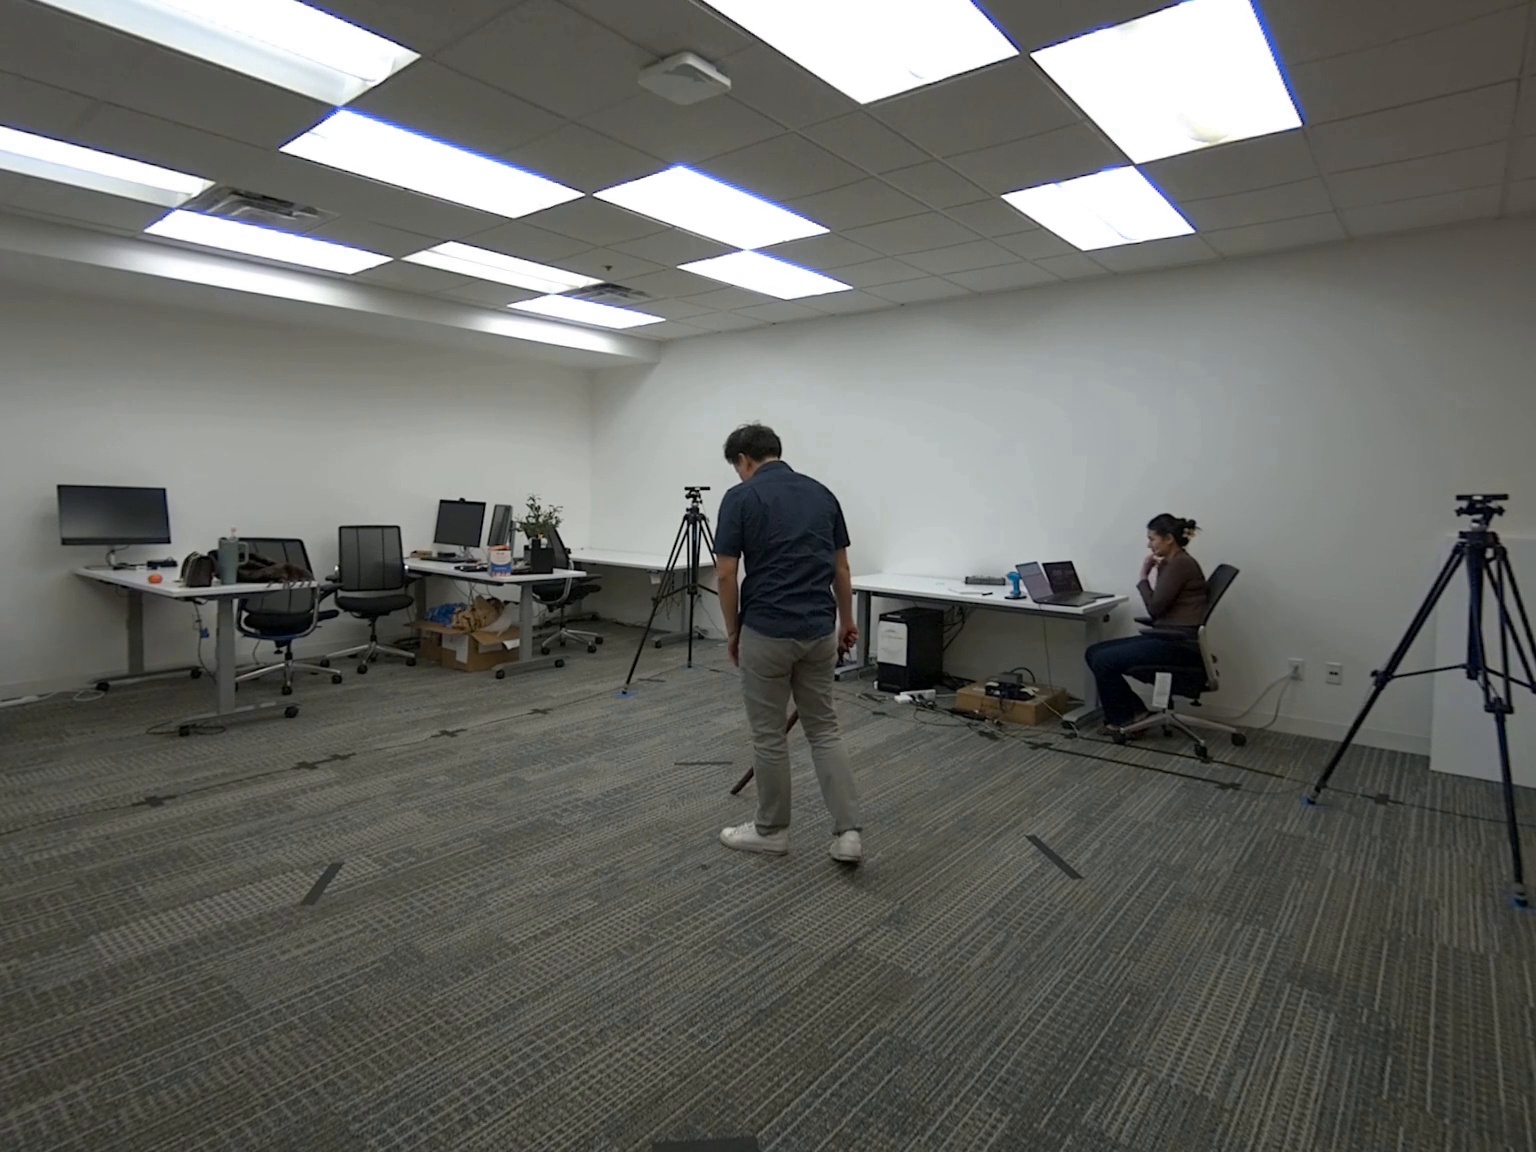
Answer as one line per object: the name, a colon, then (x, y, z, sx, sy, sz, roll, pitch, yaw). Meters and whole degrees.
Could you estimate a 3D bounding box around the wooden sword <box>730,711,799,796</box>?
wooden sword: (0.080, 0.619, 3.642, 0.023, 1.019, 0.053, 8, 37, -41)
